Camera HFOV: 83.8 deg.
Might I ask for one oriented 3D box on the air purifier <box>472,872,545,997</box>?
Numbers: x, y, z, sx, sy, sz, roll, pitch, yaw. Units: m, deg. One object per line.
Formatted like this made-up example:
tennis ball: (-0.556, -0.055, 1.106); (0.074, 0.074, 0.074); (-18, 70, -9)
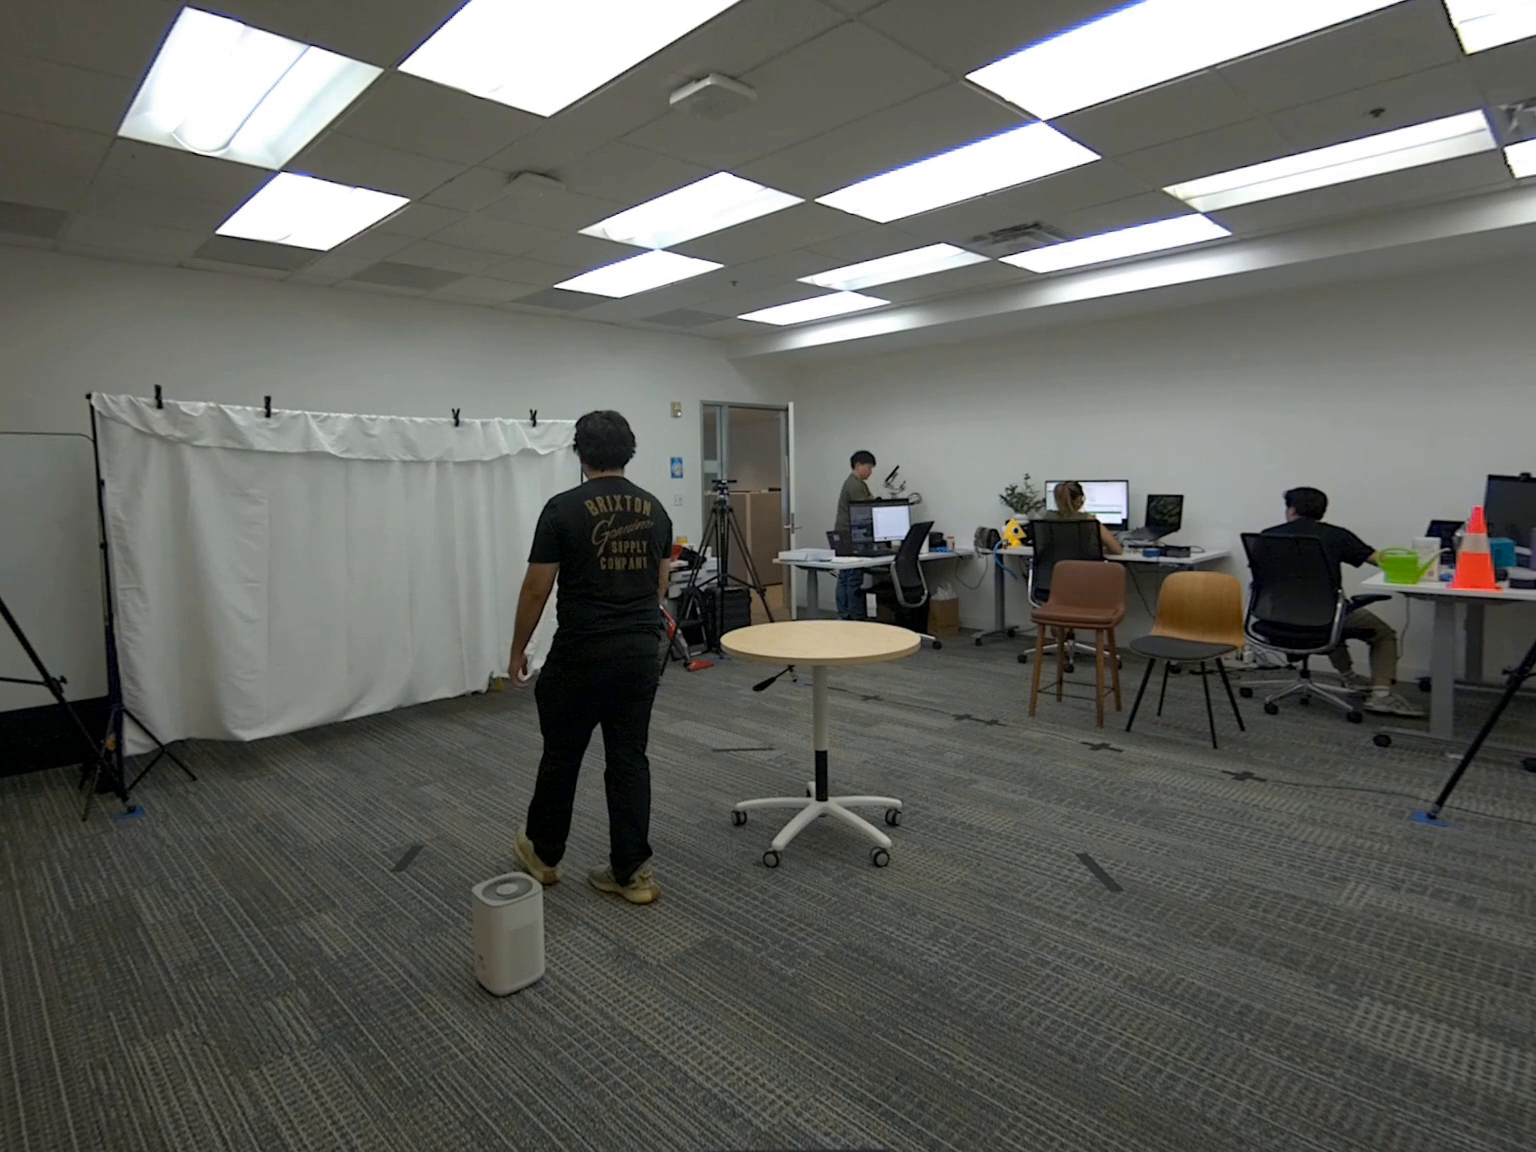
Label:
air purifier: (-0.724, 1.009, 2.405); (0.167, 0.264, 0.176); (-6, 7, -42)
